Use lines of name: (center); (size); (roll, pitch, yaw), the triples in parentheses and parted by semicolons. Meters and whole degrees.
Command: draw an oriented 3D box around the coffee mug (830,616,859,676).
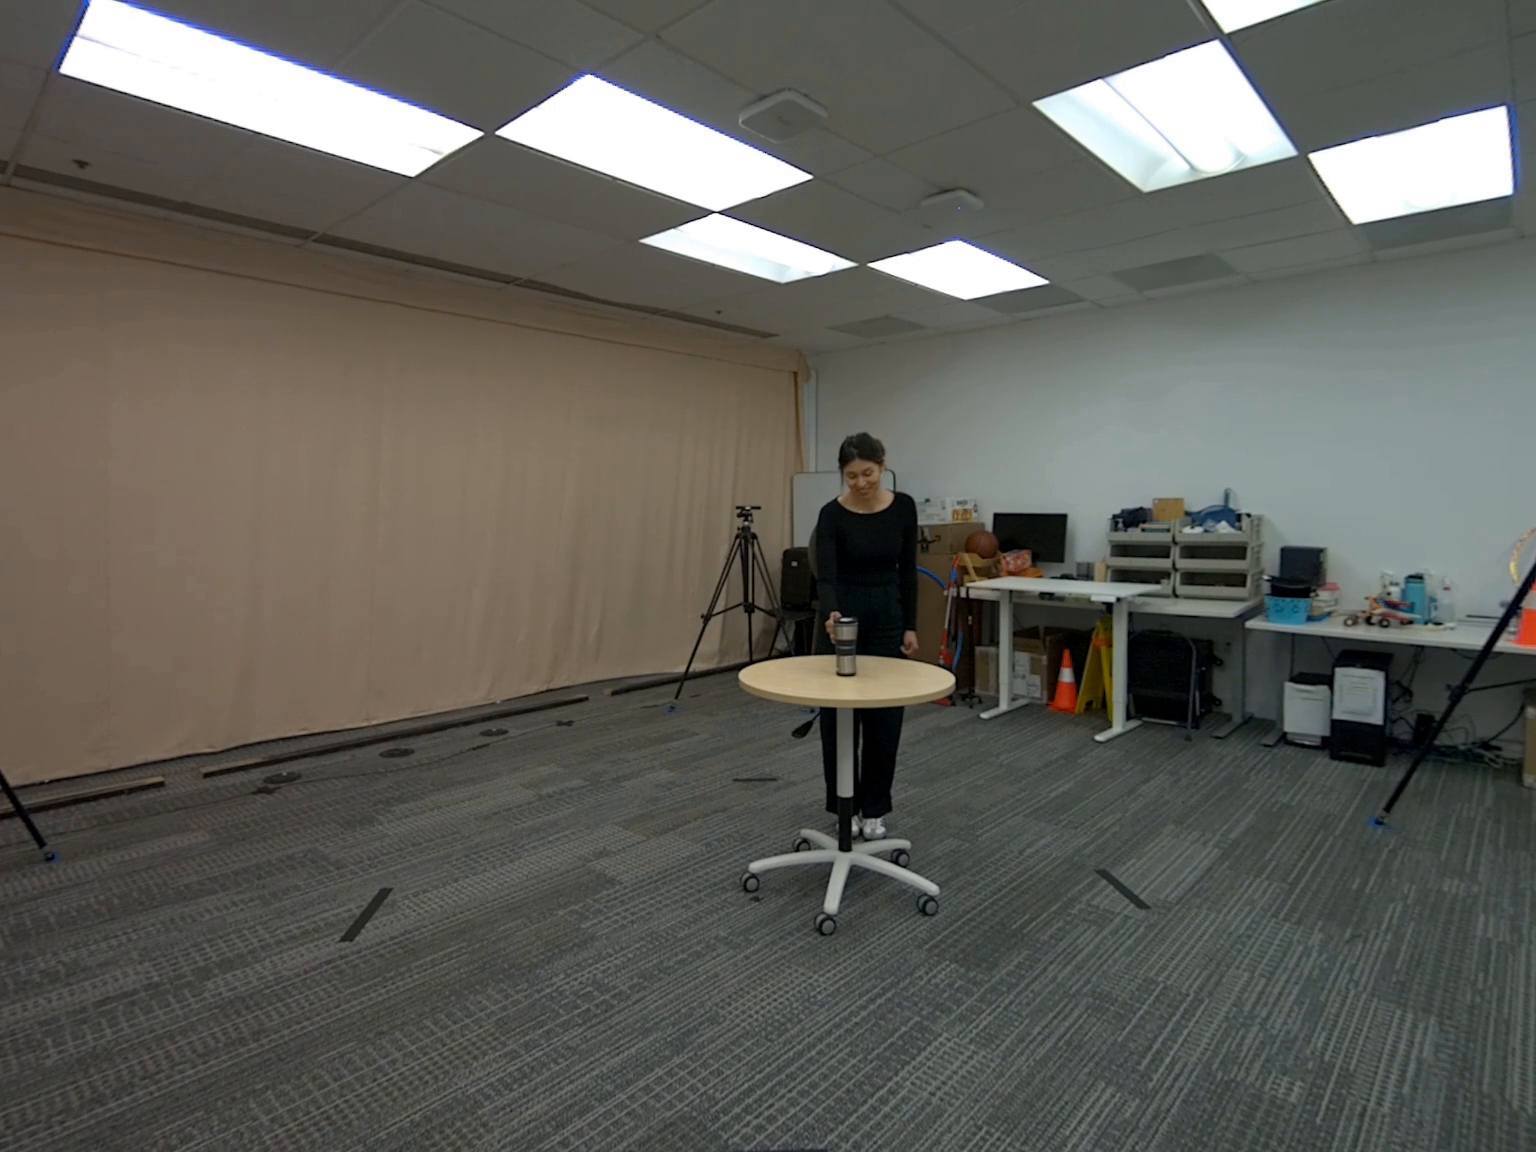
coffee mug: (0.294, 0.254, 3.036); (0.090, 0.202, 0.118); (-2, 4, 42)
